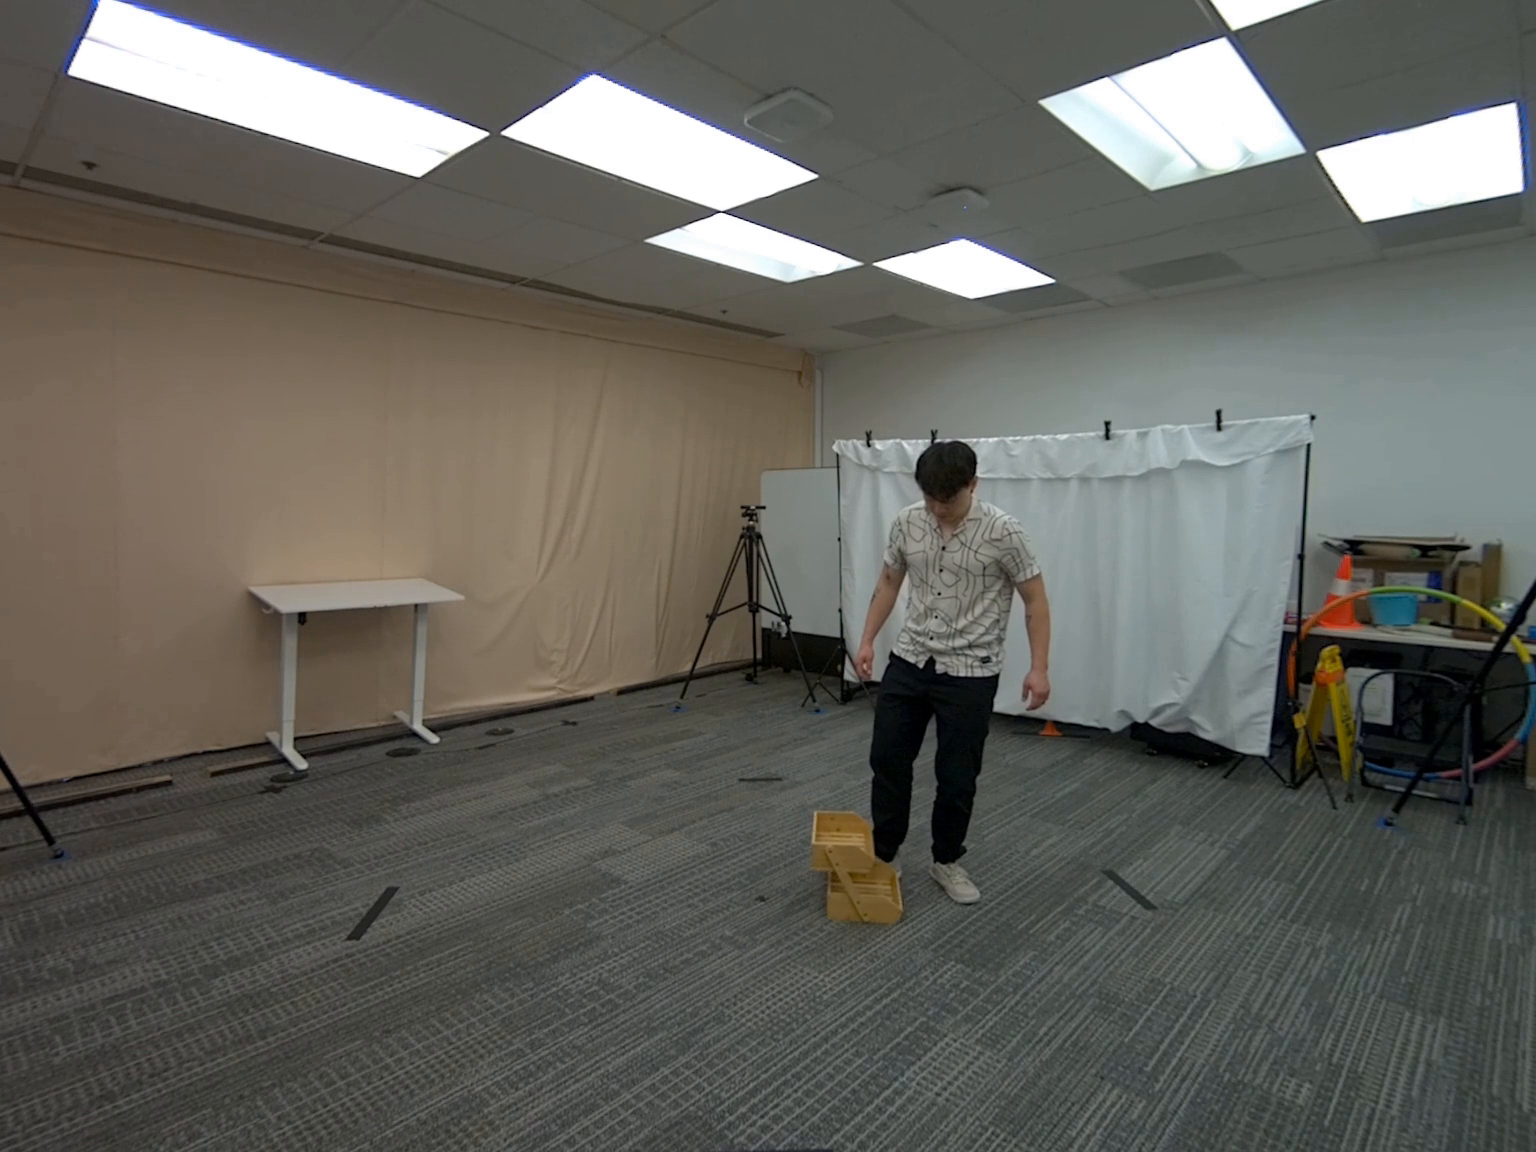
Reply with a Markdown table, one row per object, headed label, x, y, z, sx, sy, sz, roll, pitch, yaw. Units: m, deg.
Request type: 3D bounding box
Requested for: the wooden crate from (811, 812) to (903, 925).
| label | x | y | z | sx | sy | sz | roll | pitch | yaw |
| --- | --- | --- | --- | --- | --- | --- | --- | --- | --- |
| wooden crate | 0.321 | 1.013 | 2.957 | 0.304 | 0.273 | 0.322 | 0 | 4 | 7 |
